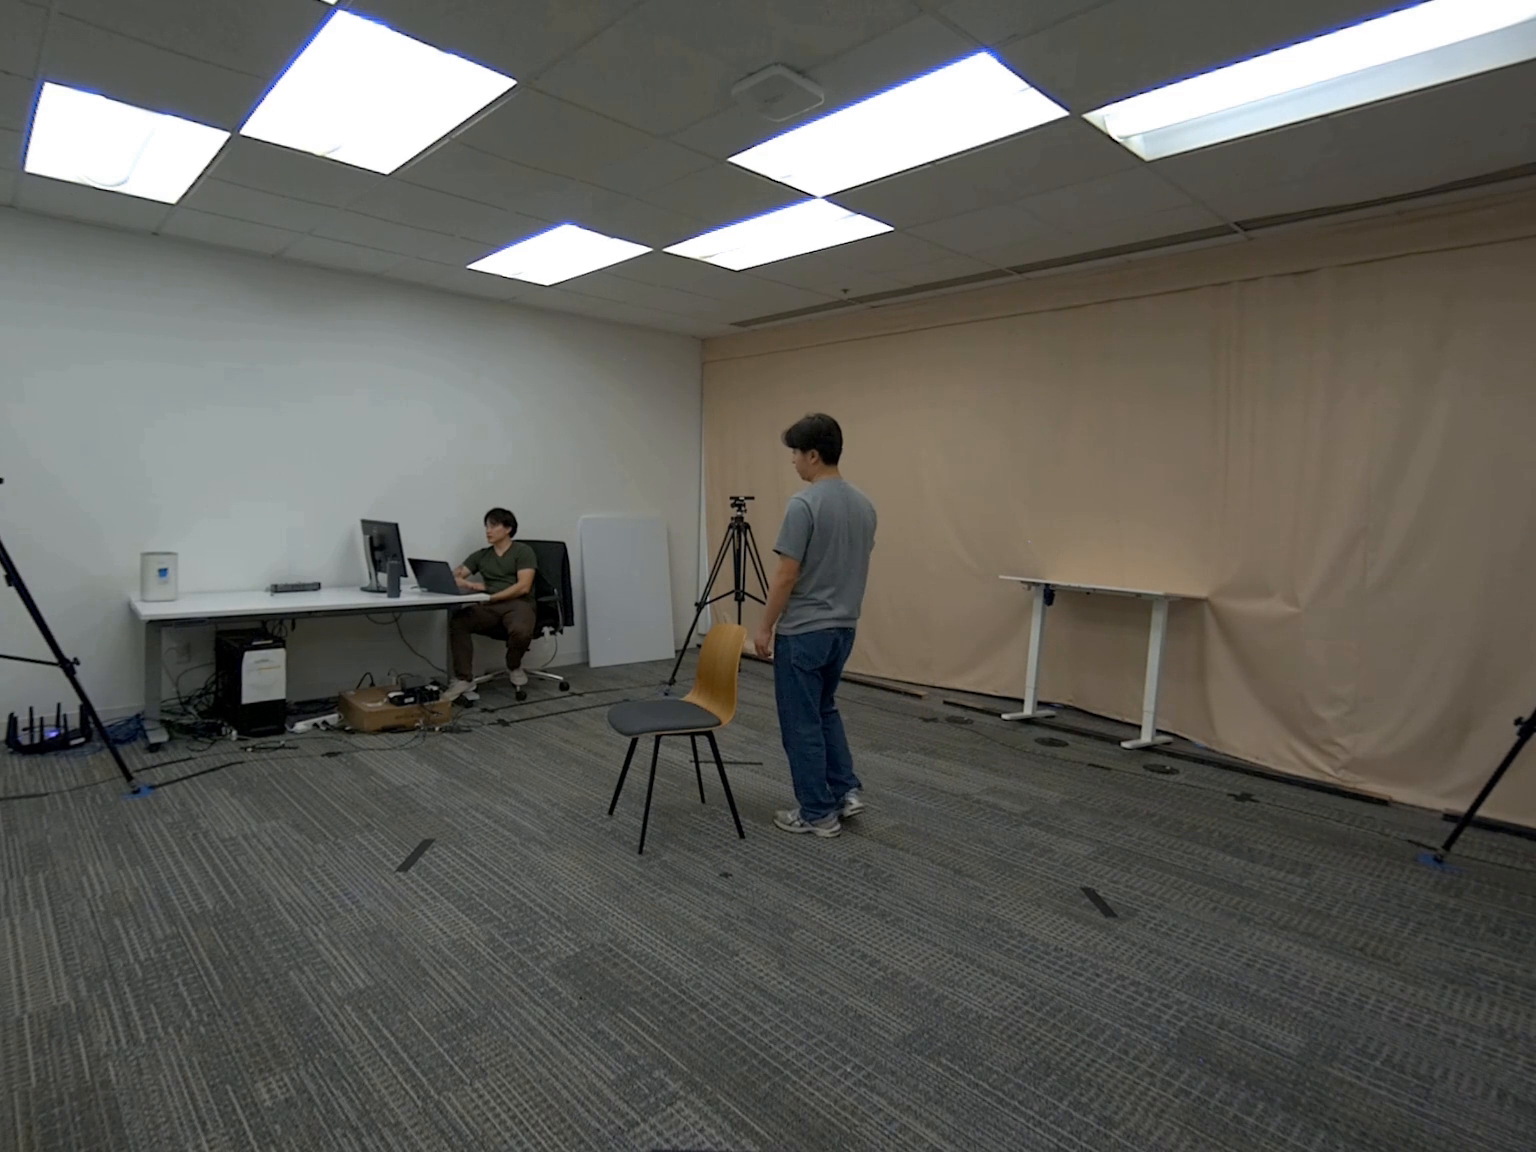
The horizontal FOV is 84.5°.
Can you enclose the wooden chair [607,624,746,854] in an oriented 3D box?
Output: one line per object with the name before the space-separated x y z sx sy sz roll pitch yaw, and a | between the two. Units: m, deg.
wooden chair | -0.396 0.632 3.520 0.513 0.876 0.488 5 2 -25
